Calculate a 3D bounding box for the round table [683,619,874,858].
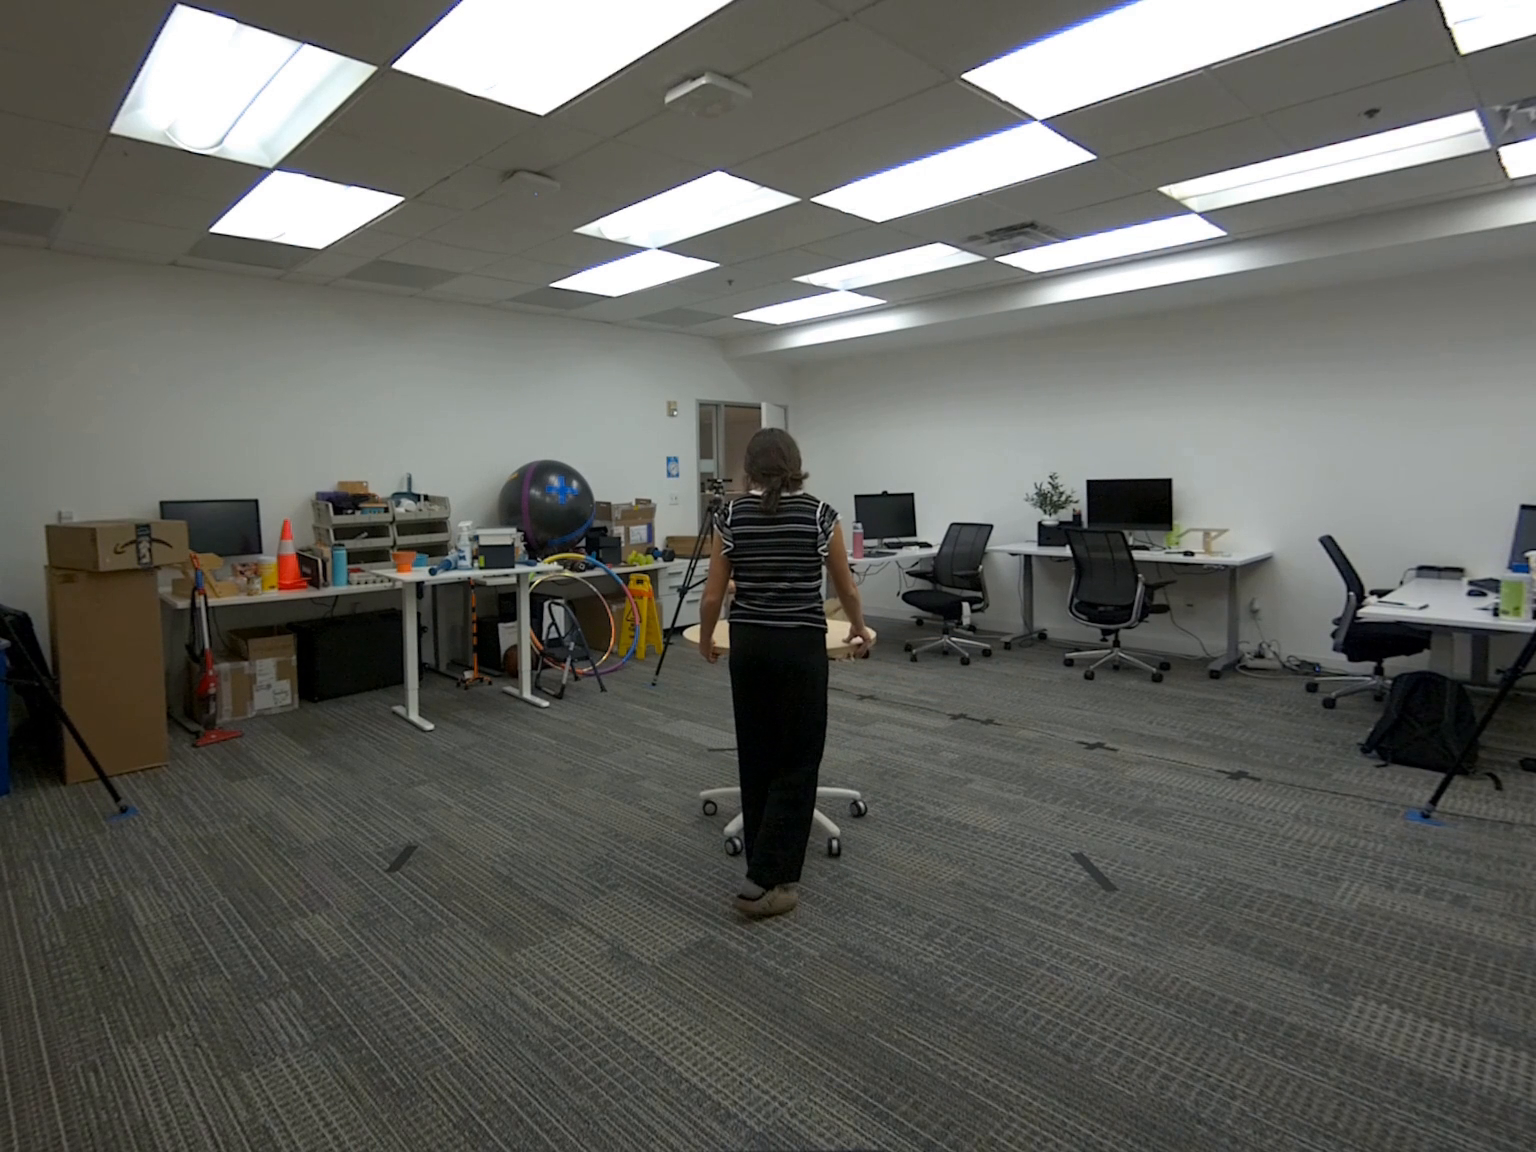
[{"bbox_3d":[0.056,0.611,3.450,0.784,0.783,0.789,-1,5,-2],"label":"round table"}]
